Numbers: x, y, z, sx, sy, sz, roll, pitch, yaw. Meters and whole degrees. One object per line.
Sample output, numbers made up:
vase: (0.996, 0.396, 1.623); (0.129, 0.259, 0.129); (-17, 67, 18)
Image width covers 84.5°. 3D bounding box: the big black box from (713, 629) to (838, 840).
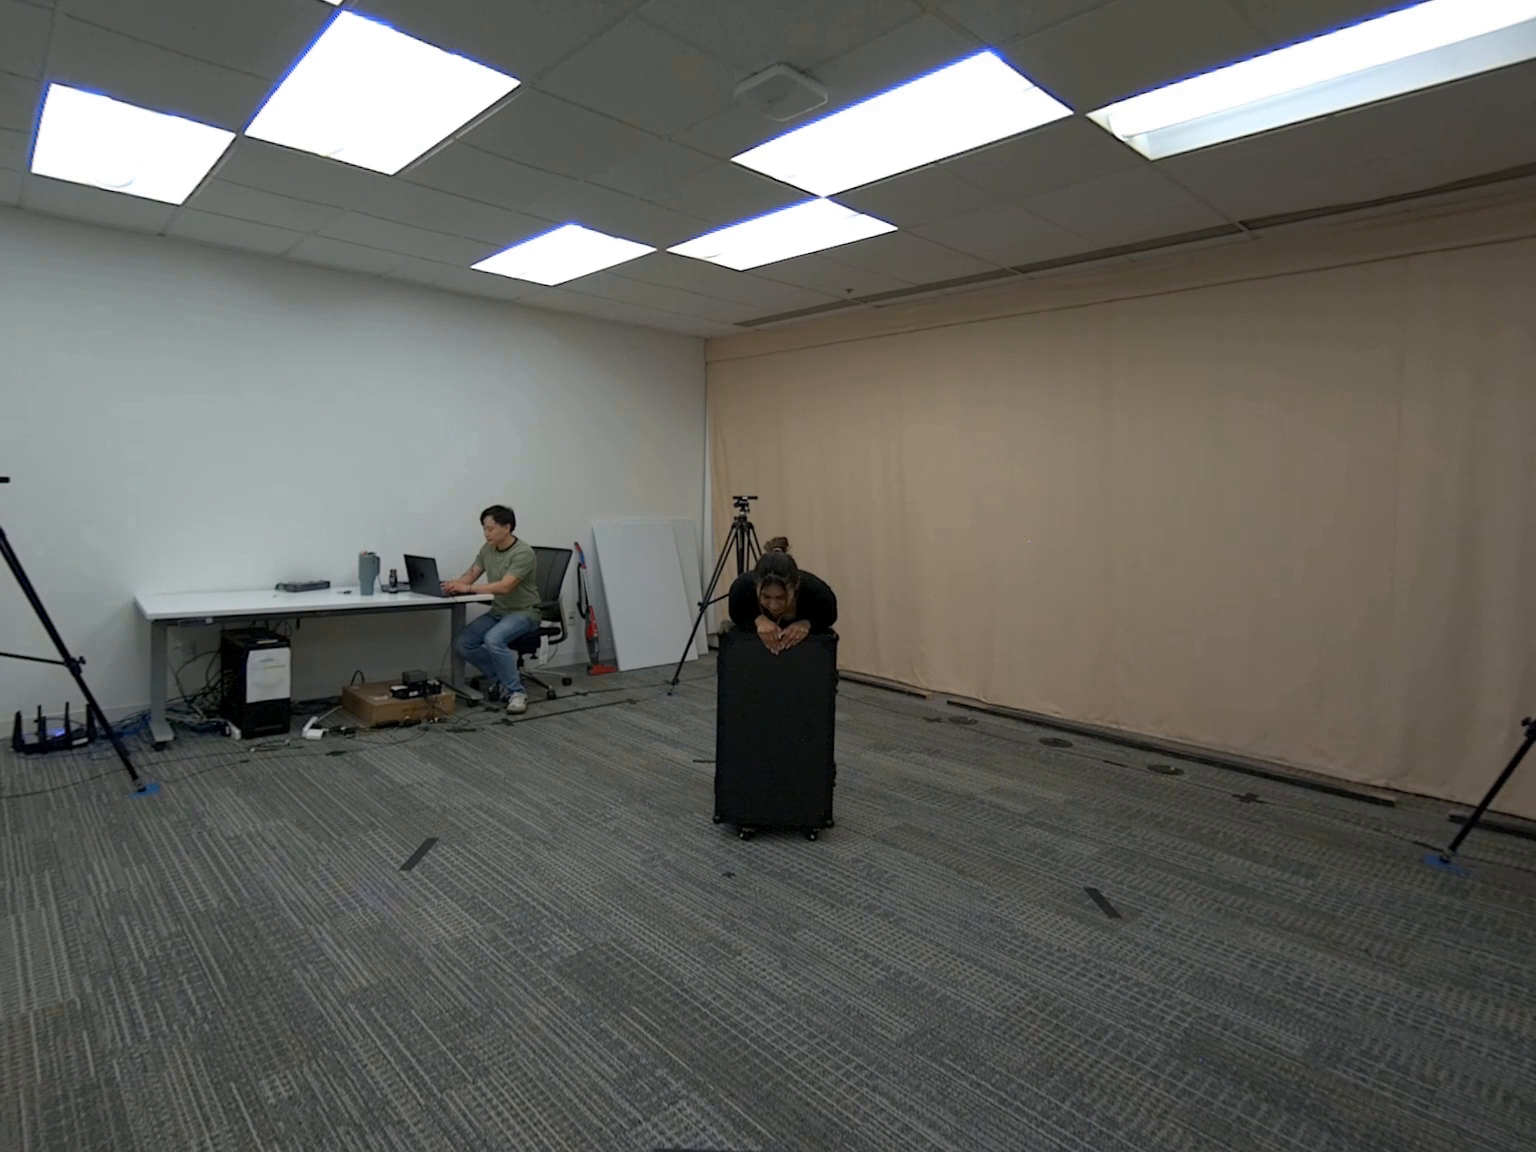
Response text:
big black box: (0.024, 0.645, 3.571); (0.522, 0.860, 0.396); (1, 1, 1)
